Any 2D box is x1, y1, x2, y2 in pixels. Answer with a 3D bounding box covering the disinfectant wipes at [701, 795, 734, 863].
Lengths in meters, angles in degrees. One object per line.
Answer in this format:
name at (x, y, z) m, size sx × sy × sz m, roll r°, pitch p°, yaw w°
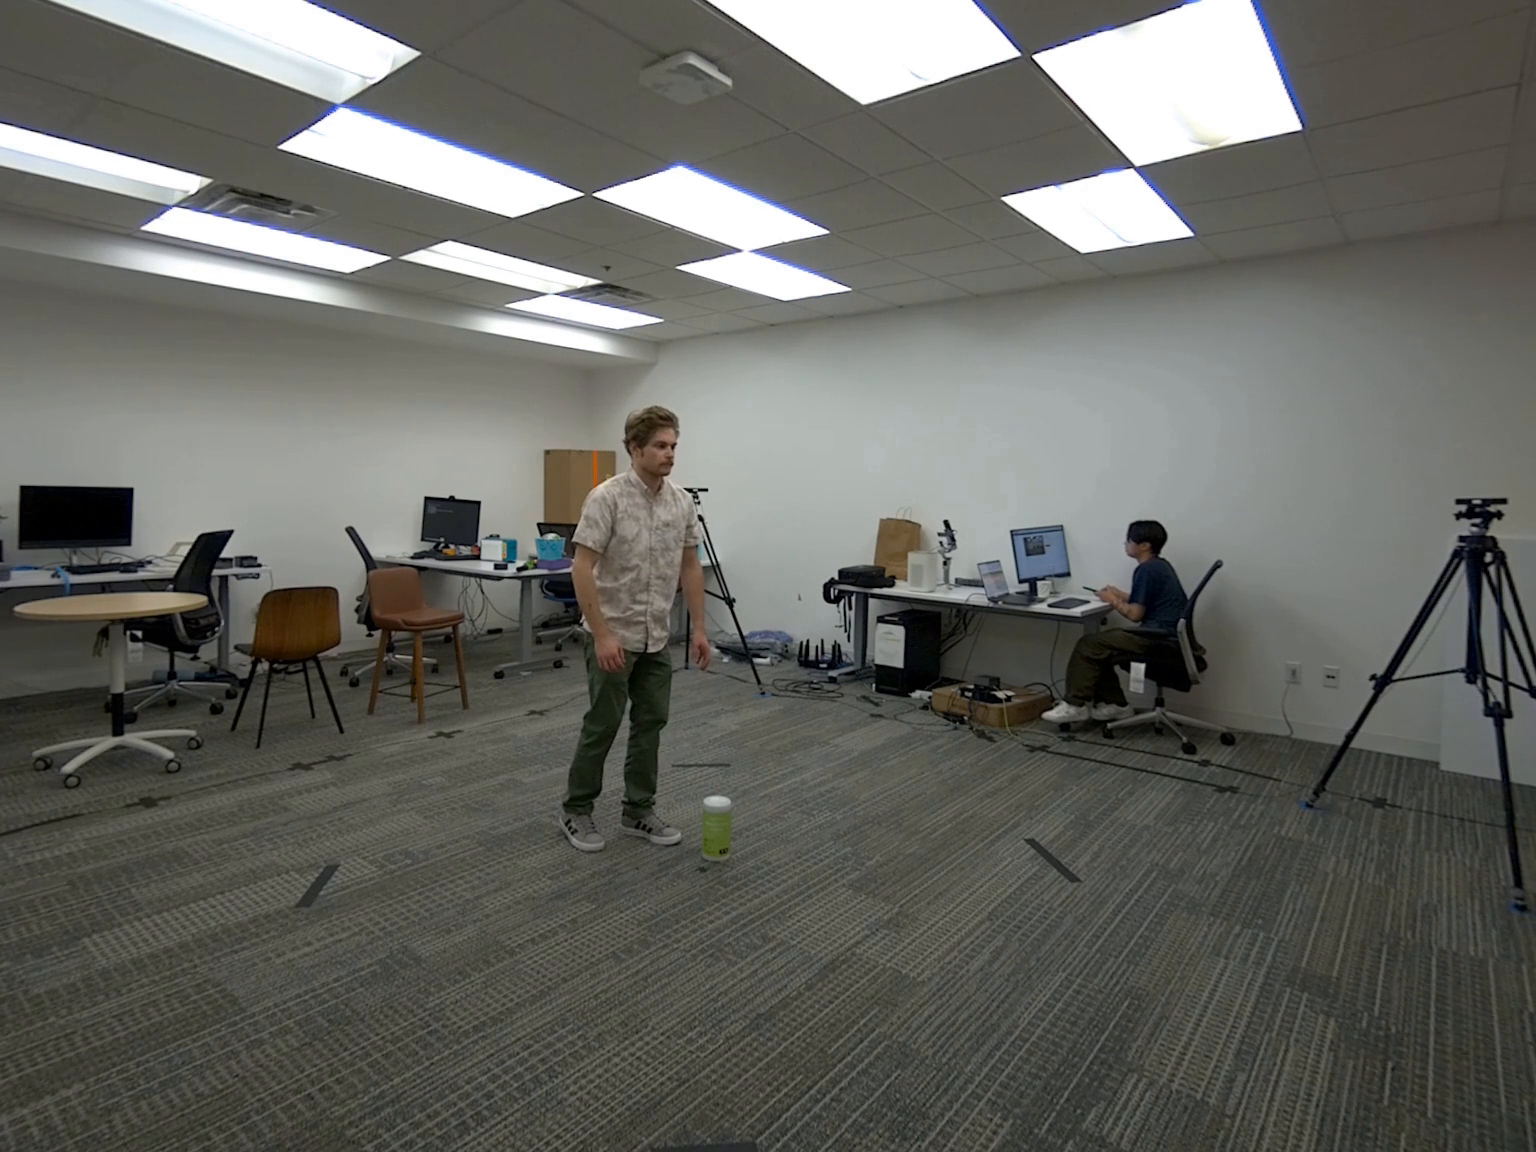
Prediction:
disinfectant wipes at (-0.204, 0.953, 3.217) m, size 0.117 × 0.217 × 0.118 m, roll 2°, pitch 4°, yaw -2°
